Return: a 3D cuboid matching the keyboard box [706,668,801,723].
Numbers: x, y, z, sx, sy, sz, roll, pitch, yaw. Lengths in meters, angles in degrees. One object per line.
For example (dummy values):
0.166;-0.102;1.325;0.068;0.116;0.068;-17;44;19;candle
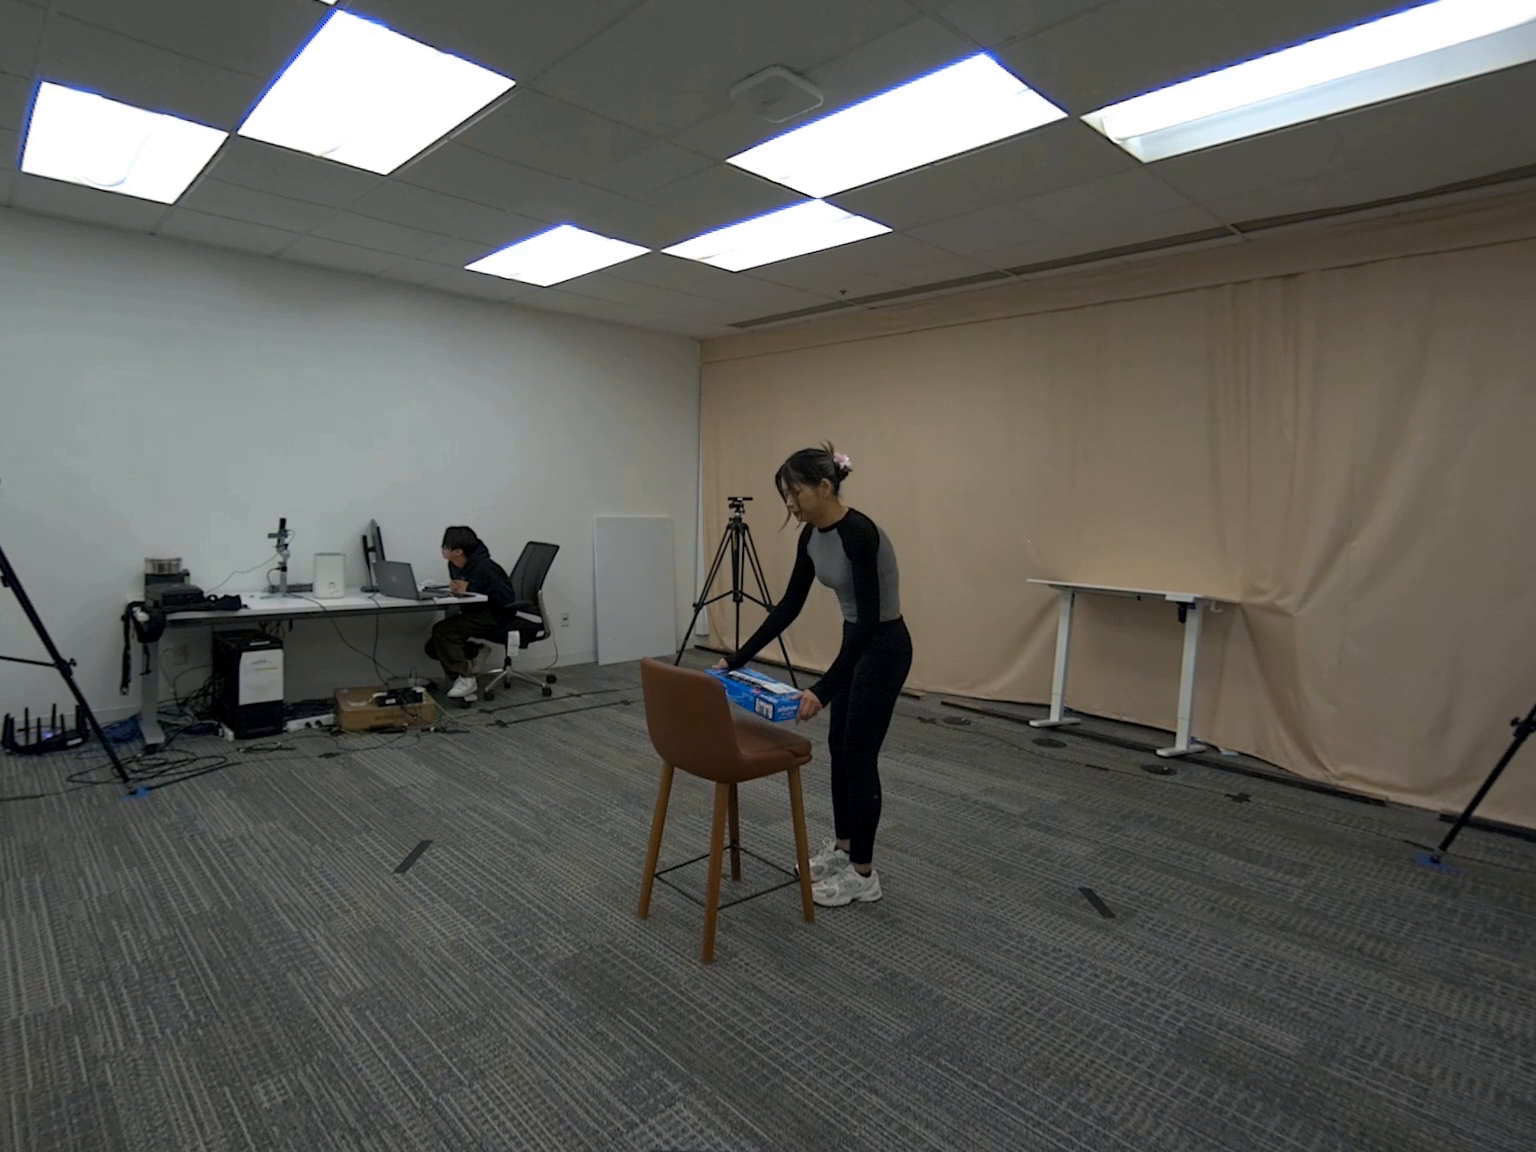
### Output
-0.031;0.387;2.796;0.172;0.059;0.448;-3;10;-31;keyboard box
